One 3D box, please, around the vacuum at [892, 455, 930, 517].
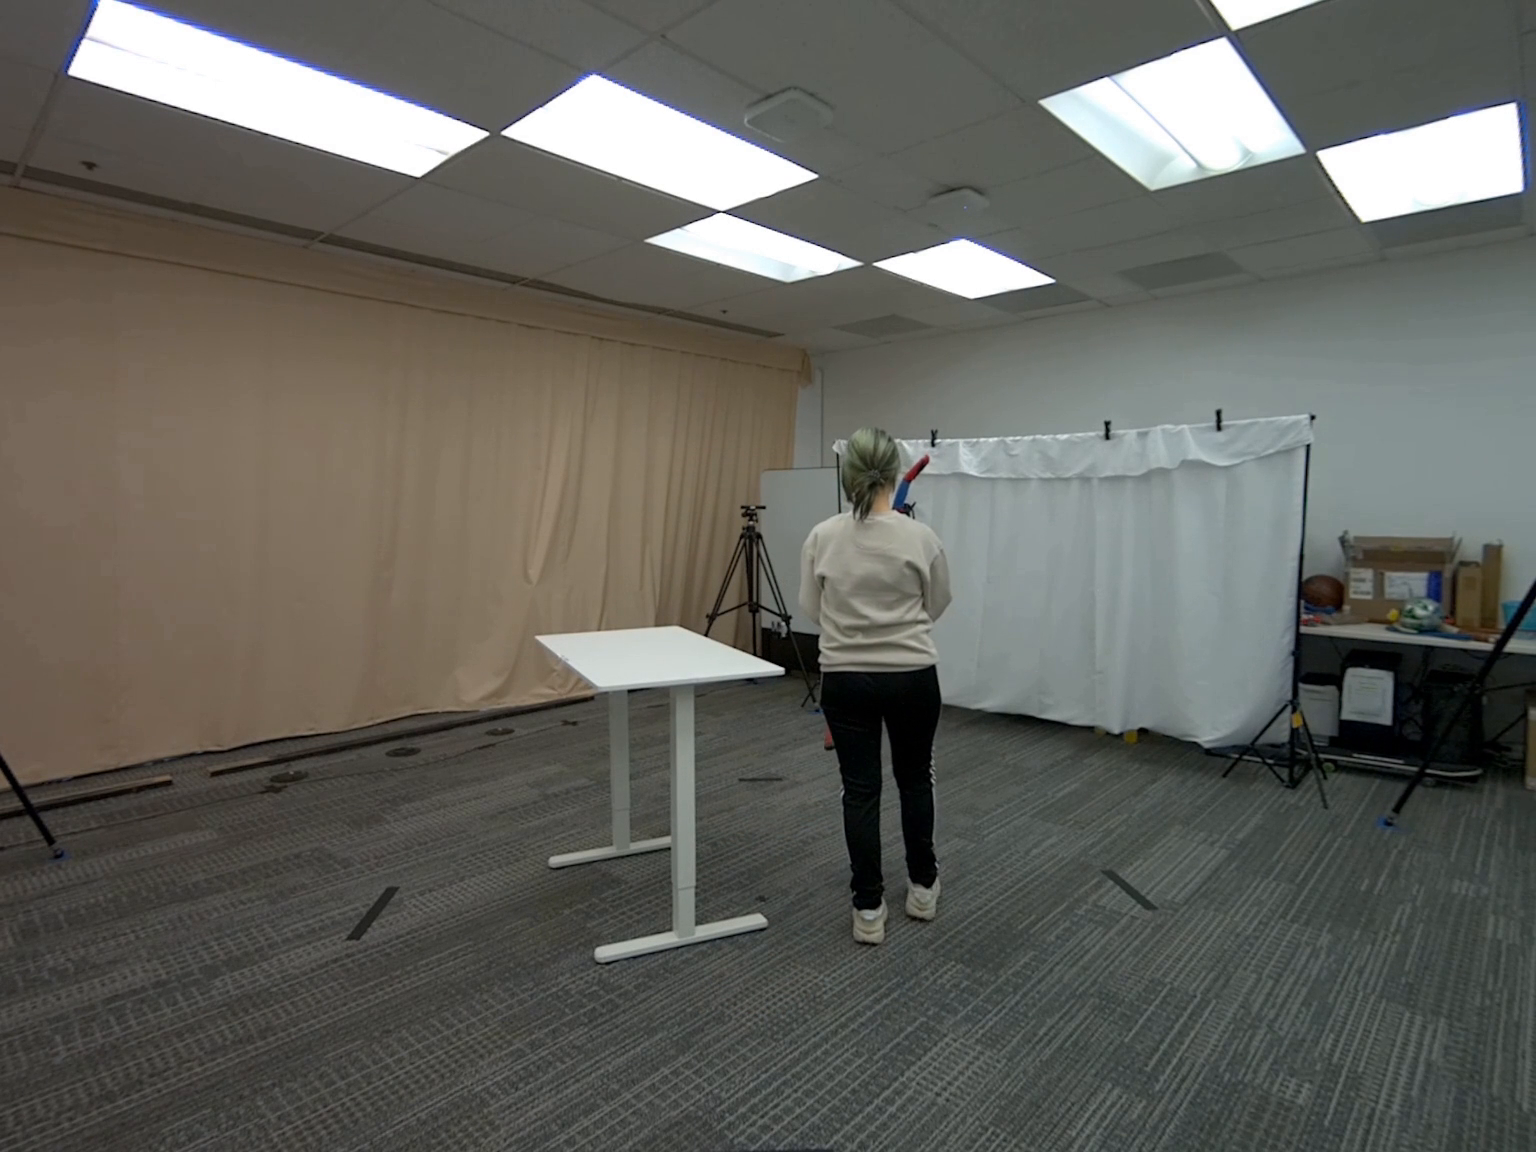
[{"bbox_3d":[0.432,0.092,3.002,0.144,1.045,0.253,14,12,0],"label":"vacuum"}]
